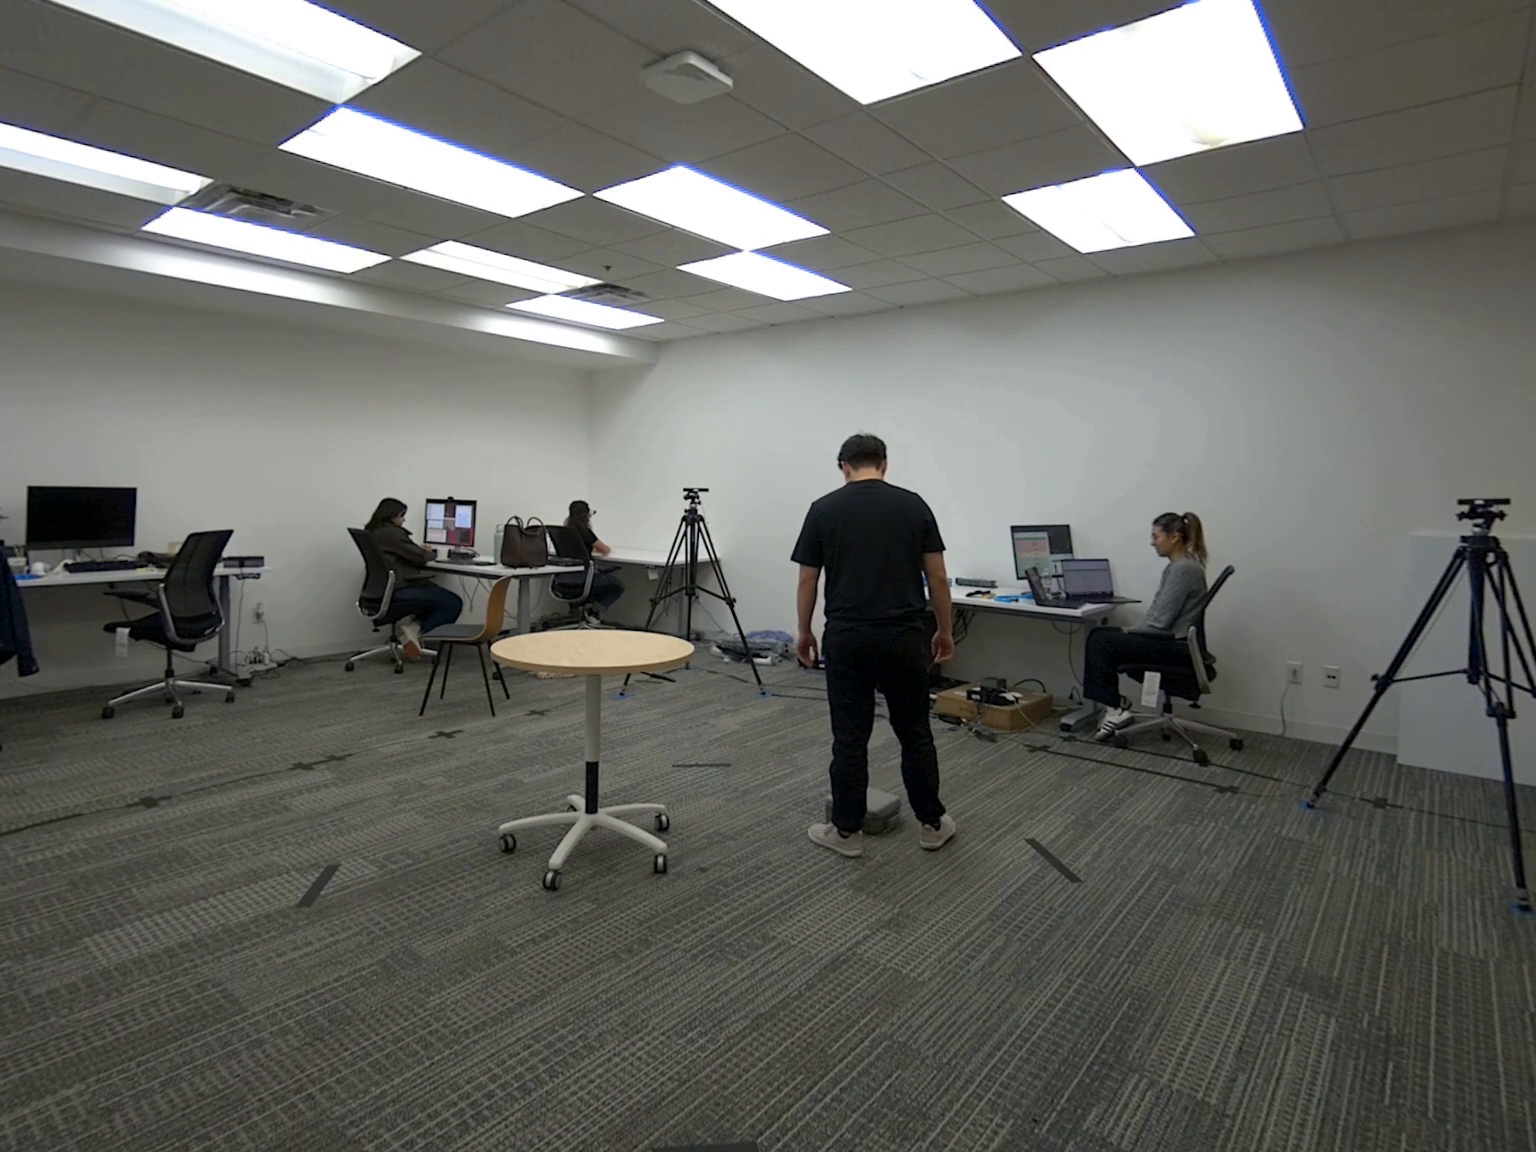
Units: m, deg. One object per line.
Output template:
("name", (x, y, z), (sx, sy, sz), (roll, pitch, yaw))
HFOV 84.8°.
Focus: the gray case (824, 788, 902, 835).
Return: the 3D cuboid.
("gray case", (0.401, 0.977, 3.608), (0.269, 0.104, 0.249), (6, 6, 35))
